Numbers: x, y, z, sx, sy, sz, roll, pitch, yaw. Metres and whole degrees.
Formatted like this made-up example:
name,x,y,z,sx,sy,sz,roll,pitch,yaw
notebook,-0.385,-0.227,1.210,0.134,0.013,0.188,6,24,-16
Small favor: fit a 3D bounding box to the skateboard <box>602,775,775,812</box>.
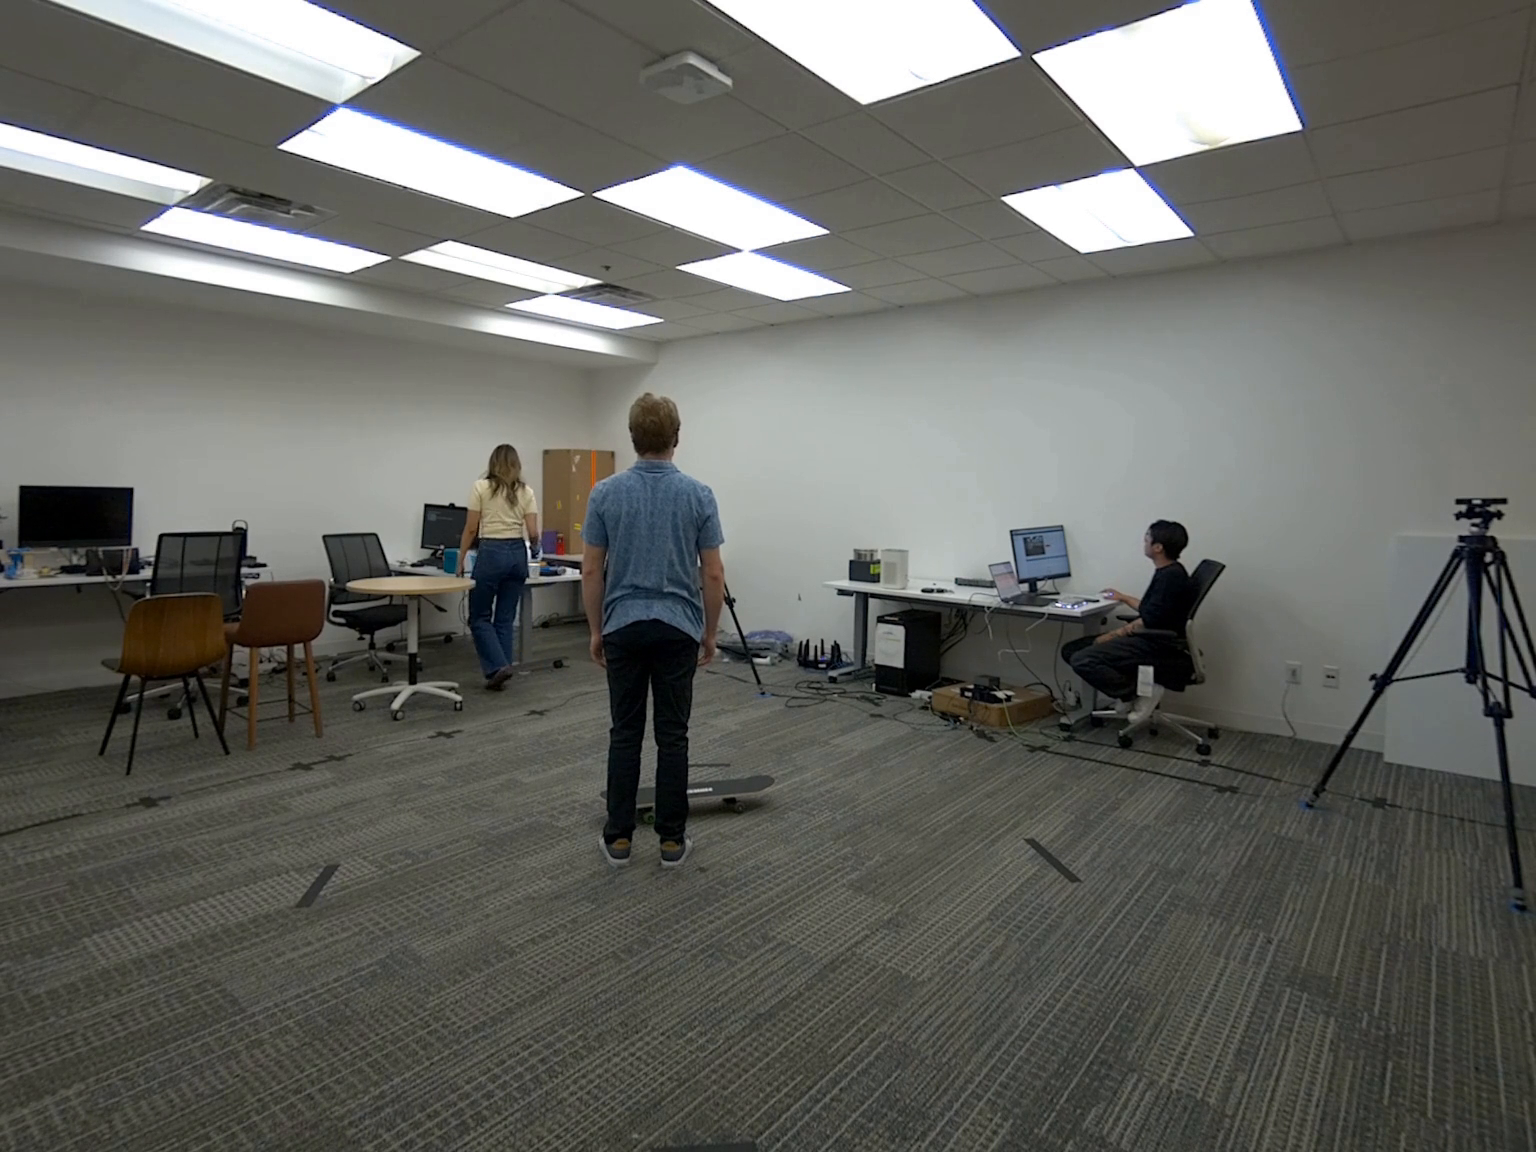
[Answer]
name,x,y,z,sx,sy,sz,roll,pitch,yaw
skateboard,-0.348,0.961,3.675,0.770,0.110,0.198,-1,6,-19
